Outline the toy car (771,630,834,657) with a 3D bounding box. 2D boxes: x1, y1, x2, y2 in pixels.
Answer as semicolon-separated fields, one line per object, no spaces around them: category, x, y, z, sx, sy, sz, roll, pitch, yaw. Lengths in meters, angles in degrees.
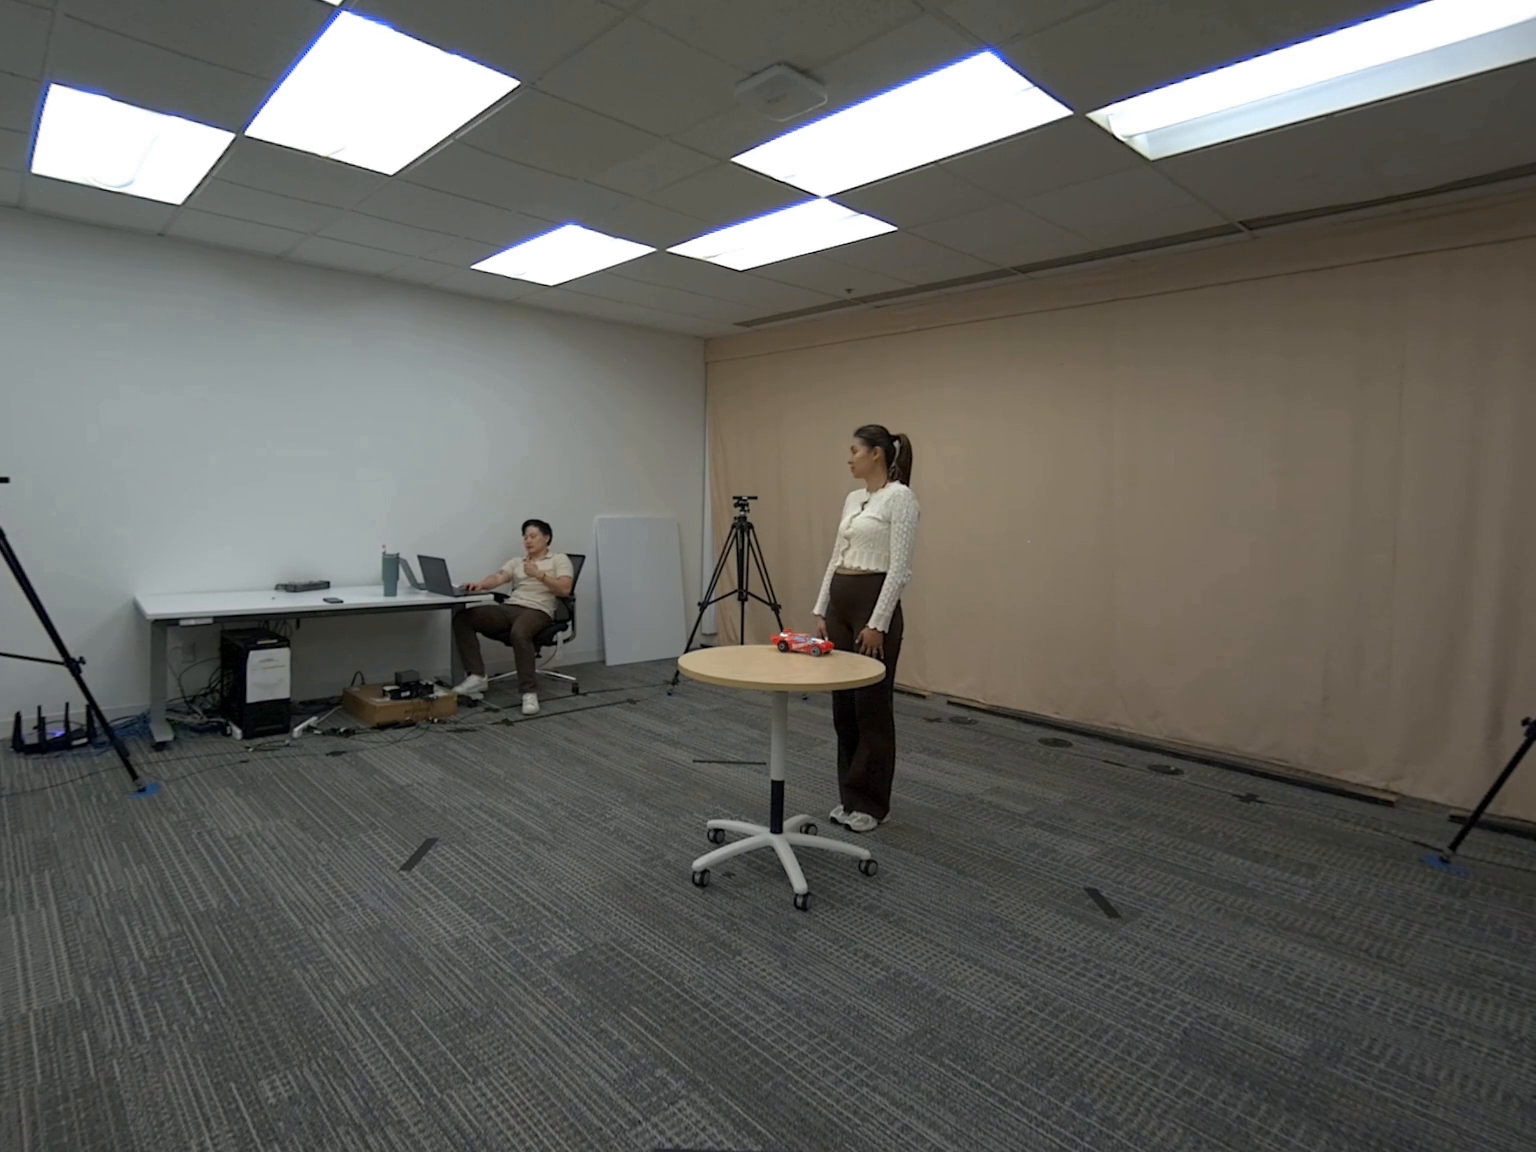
toy car;0.122;0.272;3.356;0.261;0.083;0.127;18;11;31
